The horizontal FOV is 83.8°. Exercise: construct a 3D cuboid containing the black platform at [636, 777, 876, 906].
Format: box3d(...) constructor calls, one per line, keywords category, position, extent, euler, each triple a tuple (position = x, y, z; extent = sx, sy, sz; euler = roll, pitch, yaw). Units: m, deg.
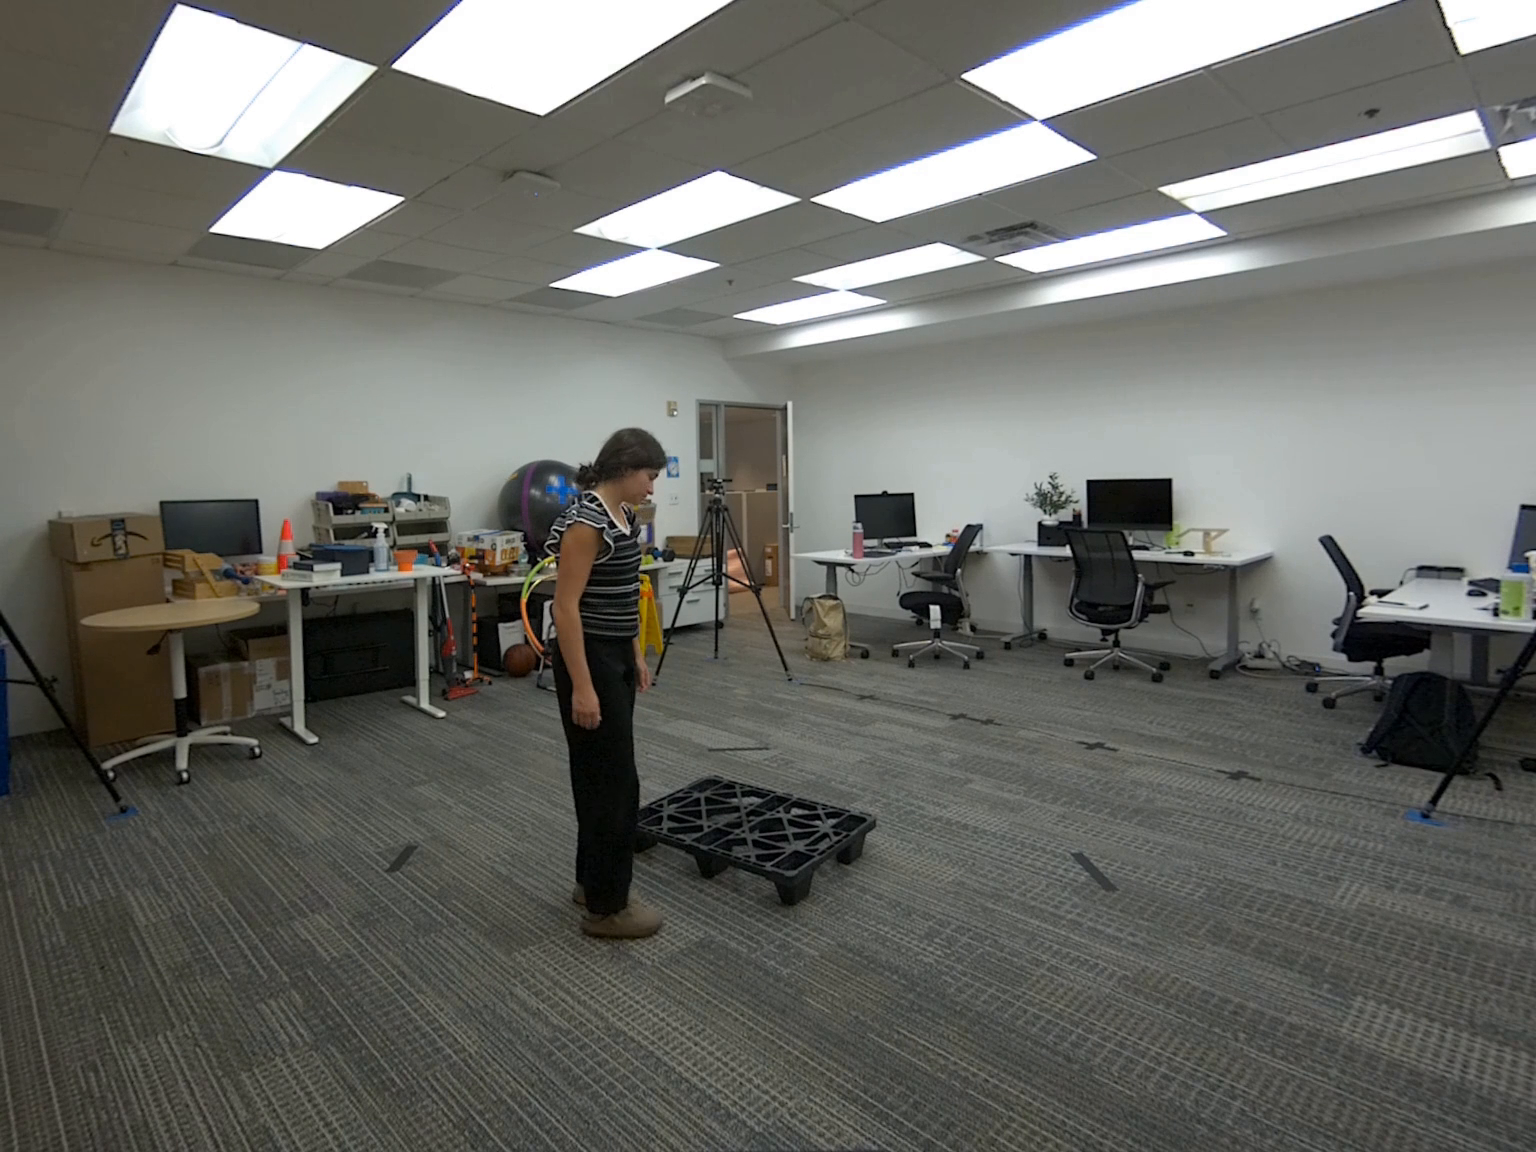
box3d(category="black platform", position=(-0.086, 0.966, 3.198), extent=(0.829, 0.143, 0.590), euler=(4, 7, 36))
